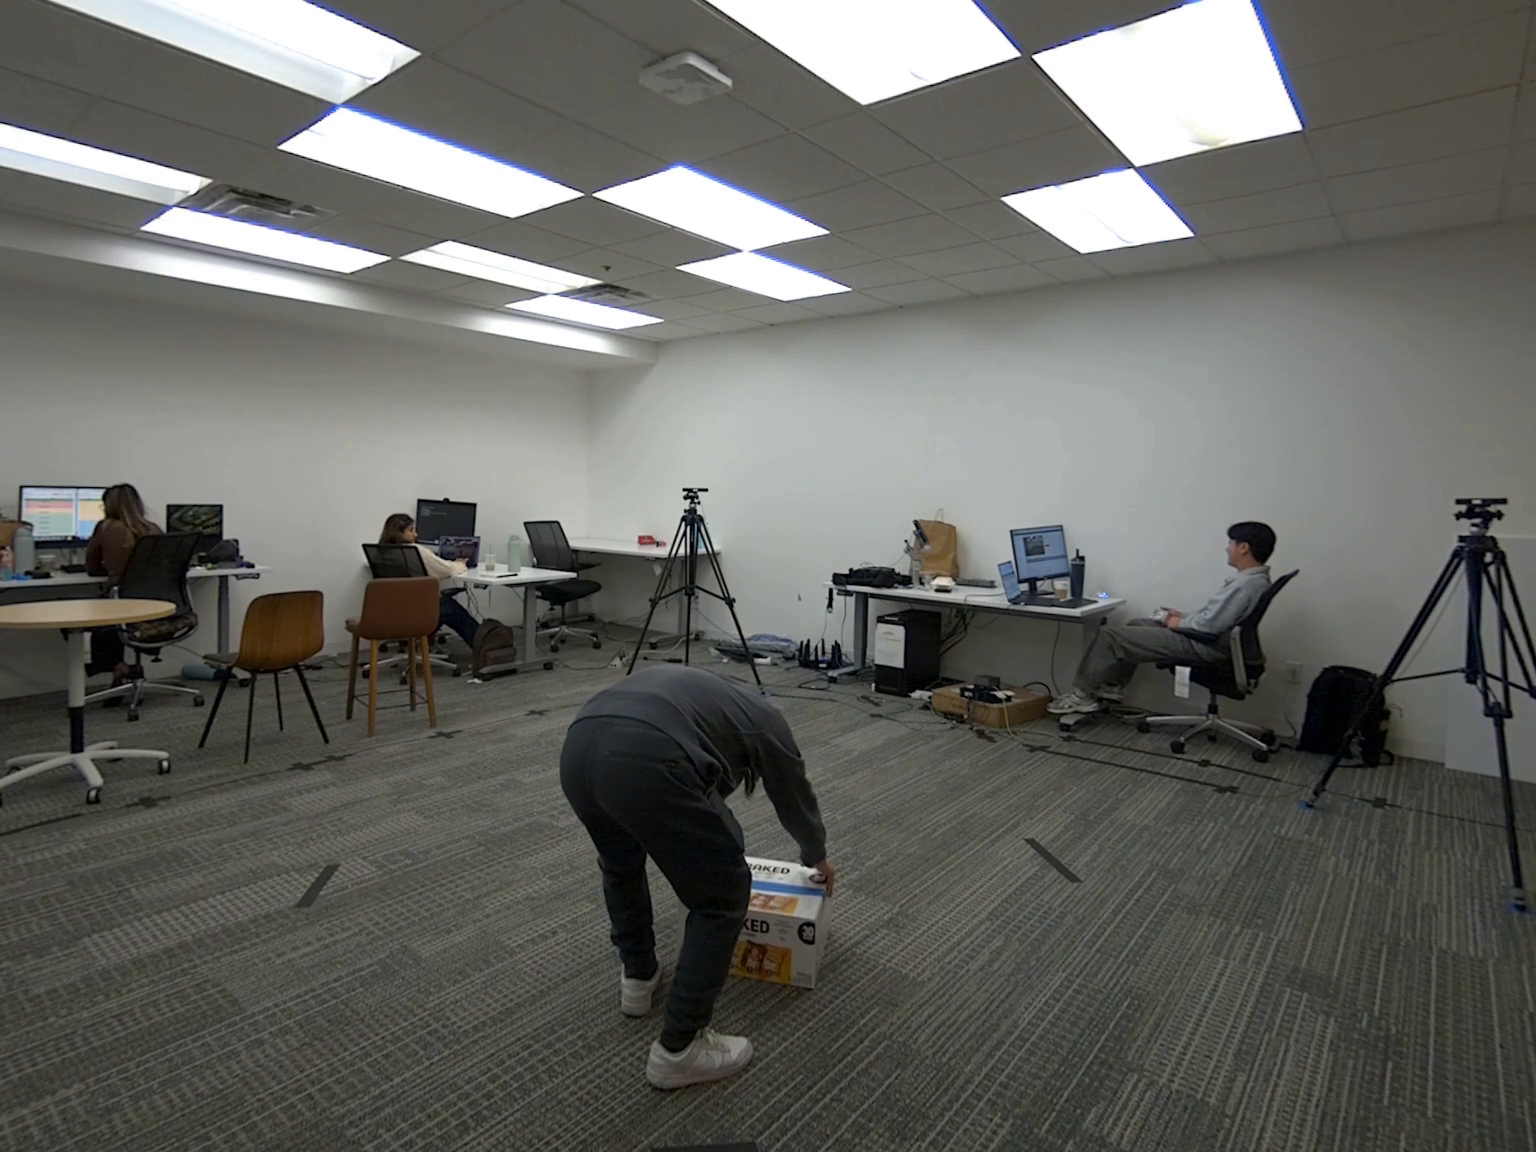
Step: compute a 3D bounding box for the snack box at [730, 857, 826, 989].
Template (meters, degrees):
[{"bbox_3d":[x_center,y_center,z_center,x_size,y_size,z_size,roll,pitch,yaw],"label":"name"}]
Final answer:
[{"bbox_3d":[-0.038,1.026,2.574,0.412,0.205,0.336,2,5,14],"label":"snack box"}]
